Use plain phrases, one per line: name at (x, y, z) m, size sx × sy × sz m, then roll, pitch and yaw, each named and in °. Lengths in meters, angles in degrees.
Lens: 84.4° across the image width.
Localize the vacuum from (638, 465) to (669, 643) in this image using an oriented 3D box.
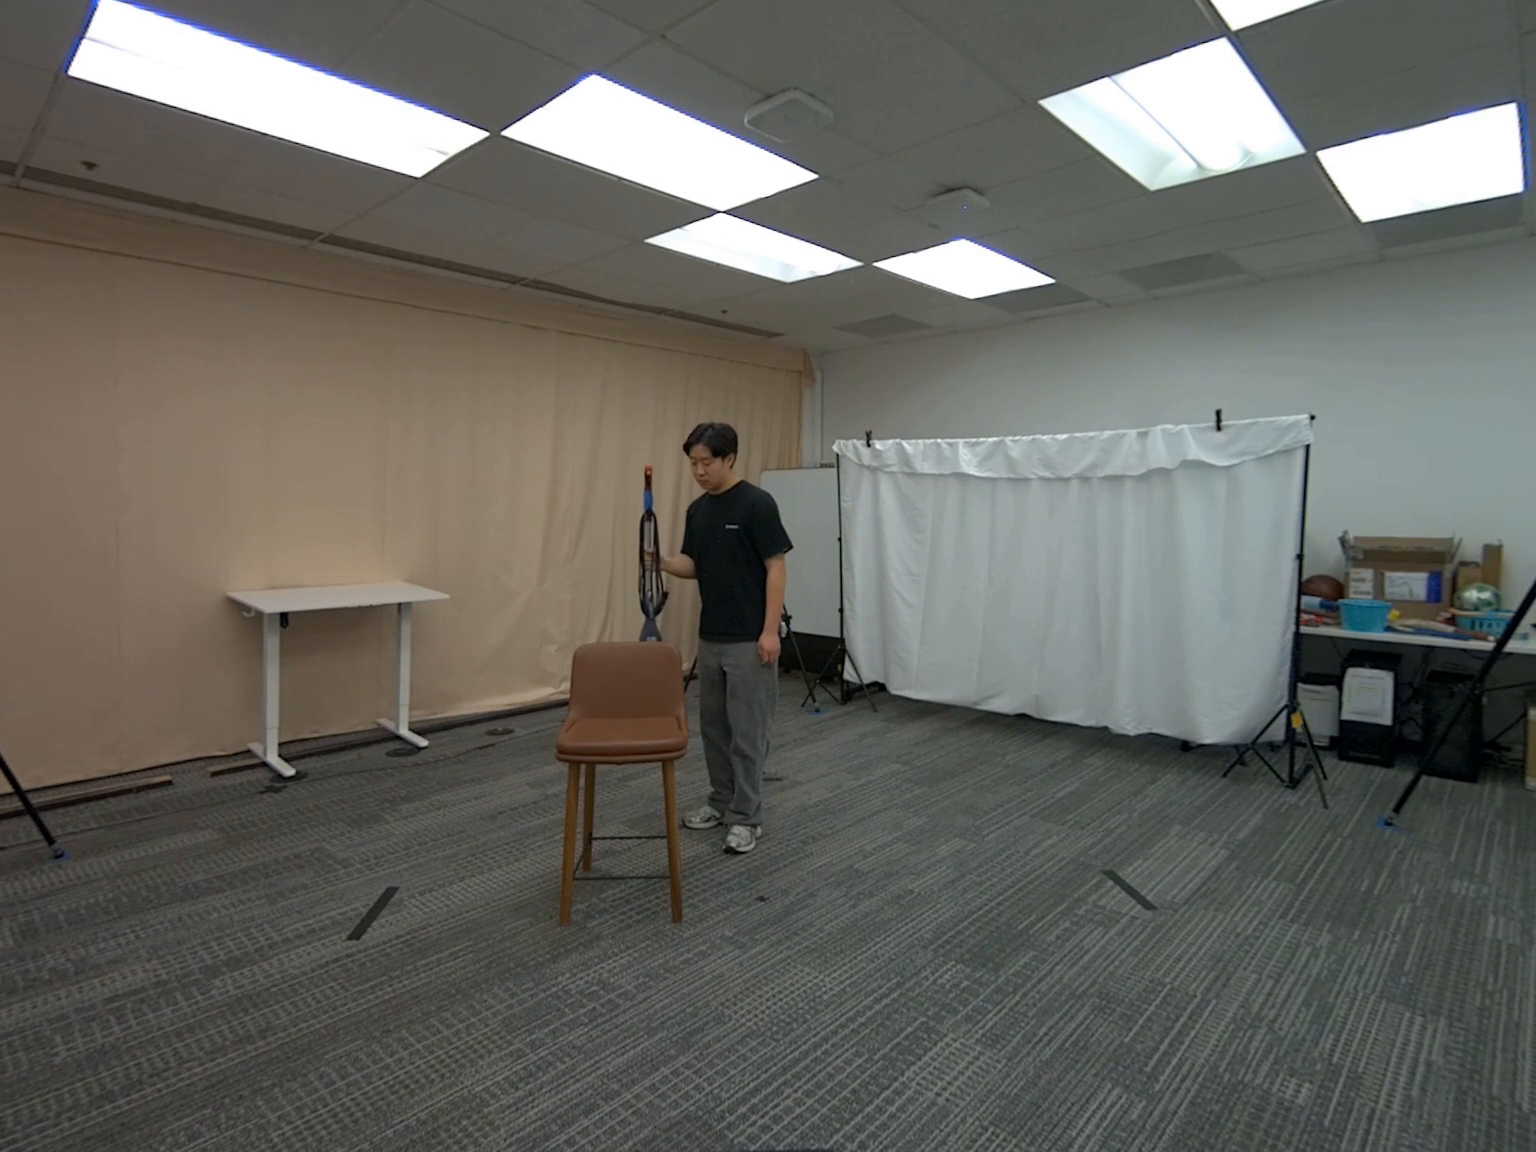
vacuum at (-0.488, 0.071, 3.484) m, size 0.249 × 1.043 × 0.147 m, roll -2°, pitch 10°, yaw -14°
